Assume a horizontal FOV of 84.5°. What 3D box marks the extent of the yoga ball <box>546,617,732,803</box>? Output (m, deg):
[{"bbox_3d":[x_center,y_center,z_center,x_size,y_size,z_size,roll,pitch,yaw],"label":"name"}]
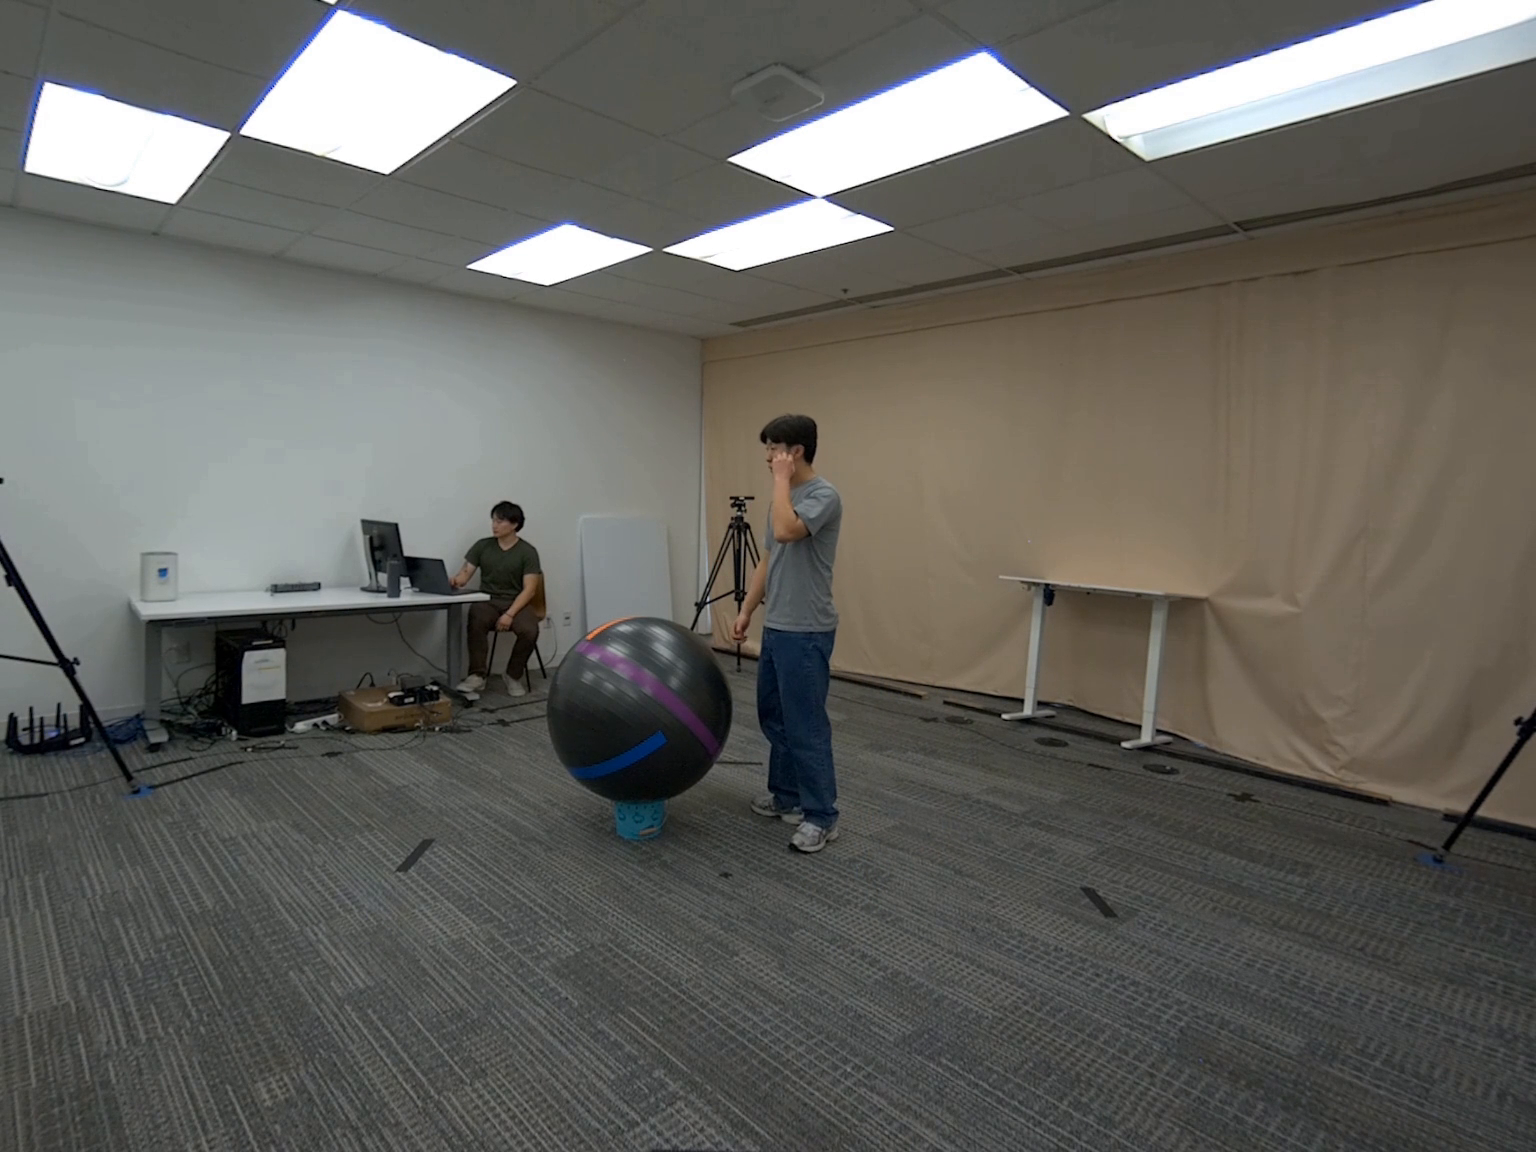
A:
[{"bbox_3d":[-0.535,0.550,3.493,0.757,0.756,0.761,1,4,-1],"label":"yoga ball"}]
